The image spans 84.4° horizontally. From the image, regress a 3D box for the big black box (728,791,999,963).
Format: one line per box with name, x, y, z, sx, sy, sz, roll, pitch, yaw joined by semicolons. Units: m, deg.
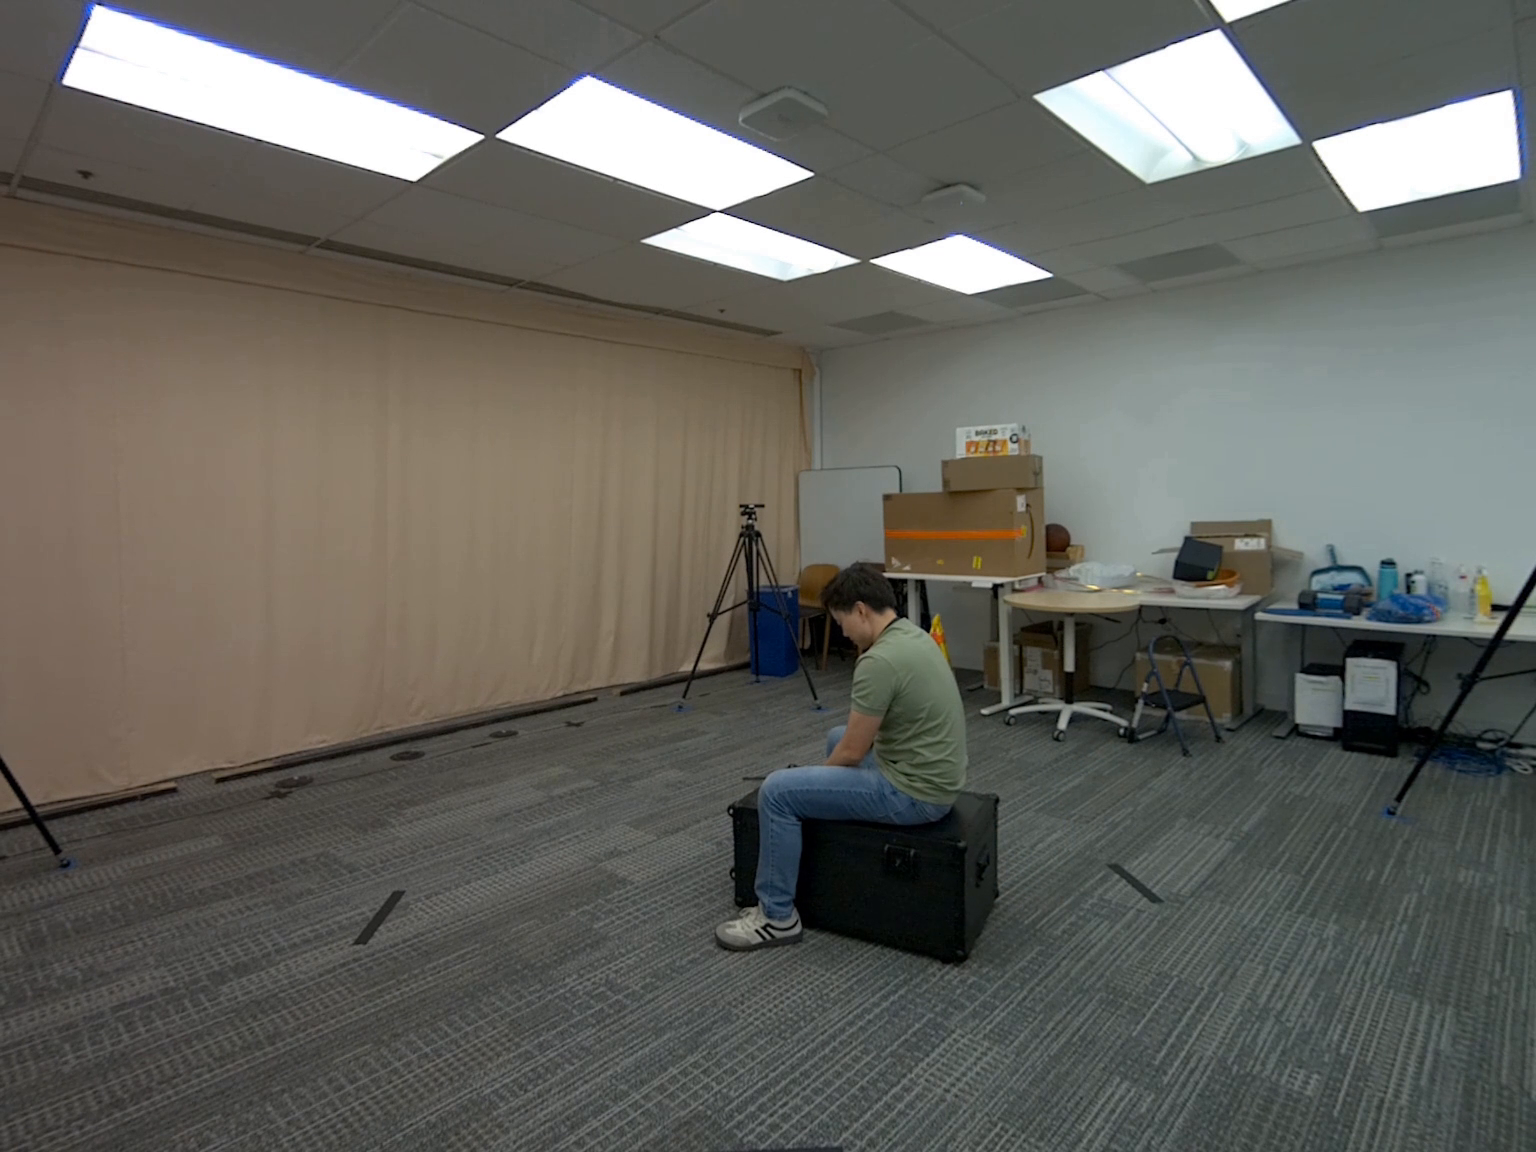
big black box;0.317;0.952;2.900;0.885;0.395;0.509;3;6;28
